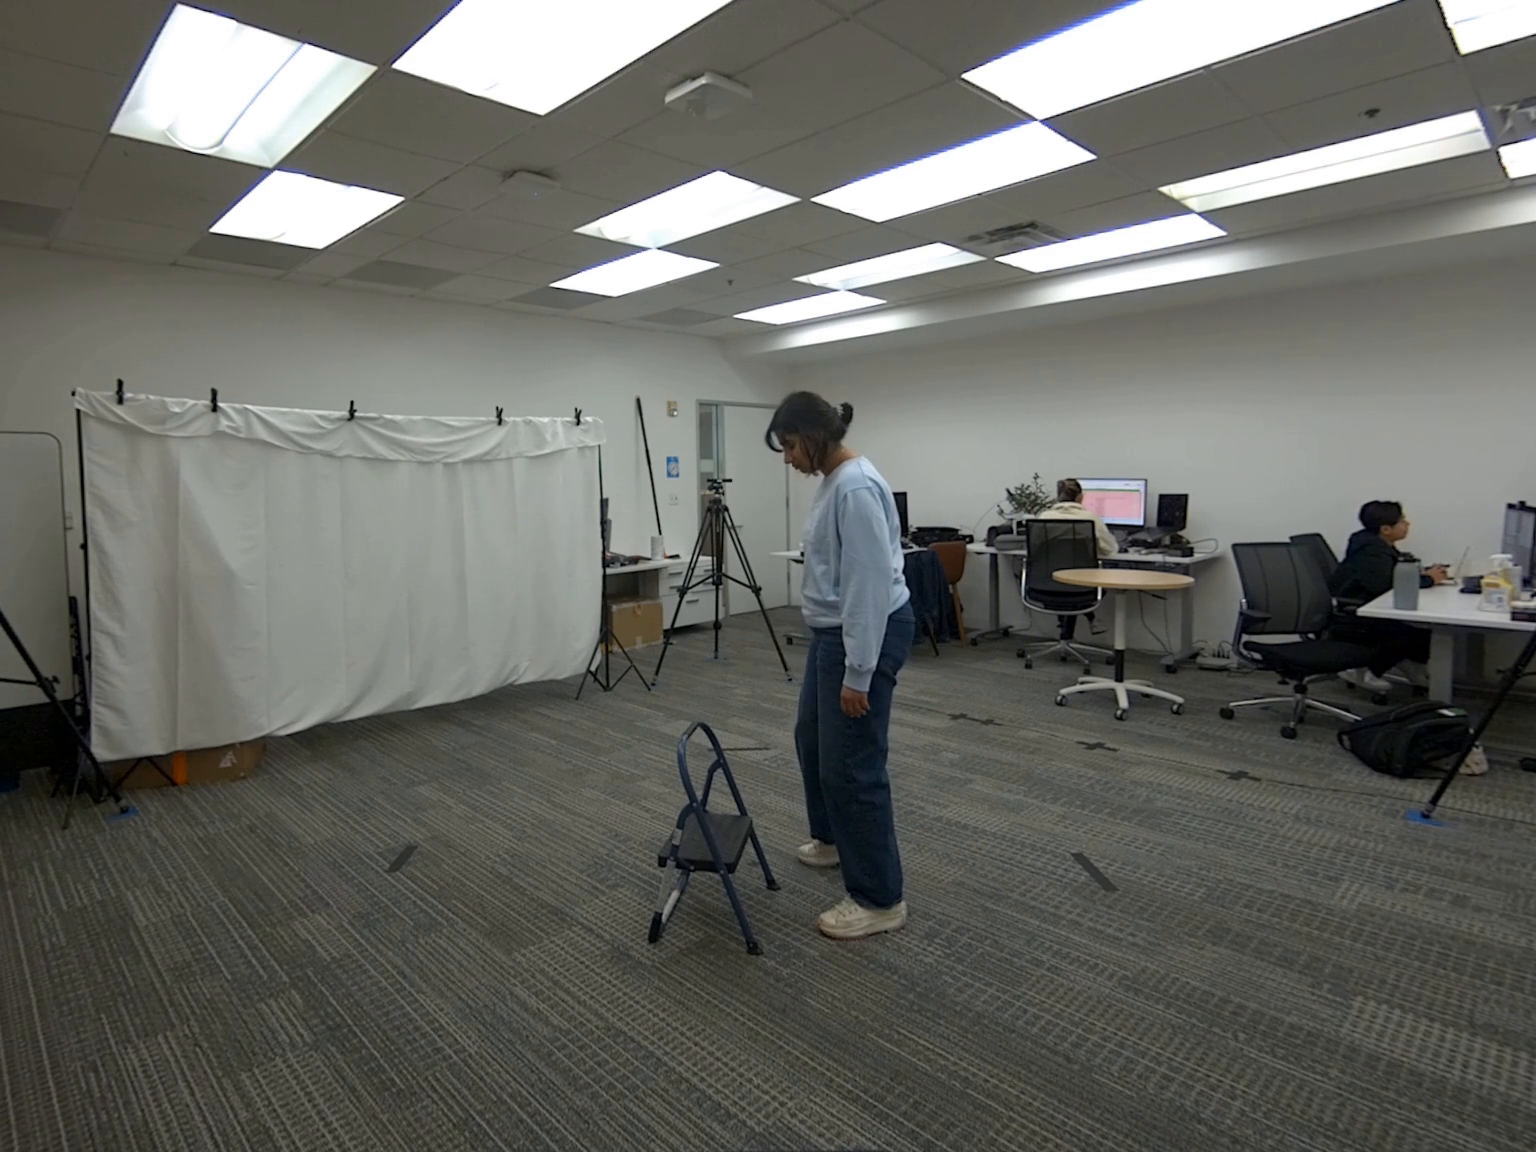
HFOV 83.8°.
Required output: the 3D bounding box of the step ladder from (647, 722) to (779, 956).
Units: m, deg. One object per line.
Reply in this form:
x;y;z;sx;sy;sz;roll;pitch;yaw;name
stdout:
-0.164;0.791;2.728;0.353;0.604;0.428;0;4;10;step ladder
